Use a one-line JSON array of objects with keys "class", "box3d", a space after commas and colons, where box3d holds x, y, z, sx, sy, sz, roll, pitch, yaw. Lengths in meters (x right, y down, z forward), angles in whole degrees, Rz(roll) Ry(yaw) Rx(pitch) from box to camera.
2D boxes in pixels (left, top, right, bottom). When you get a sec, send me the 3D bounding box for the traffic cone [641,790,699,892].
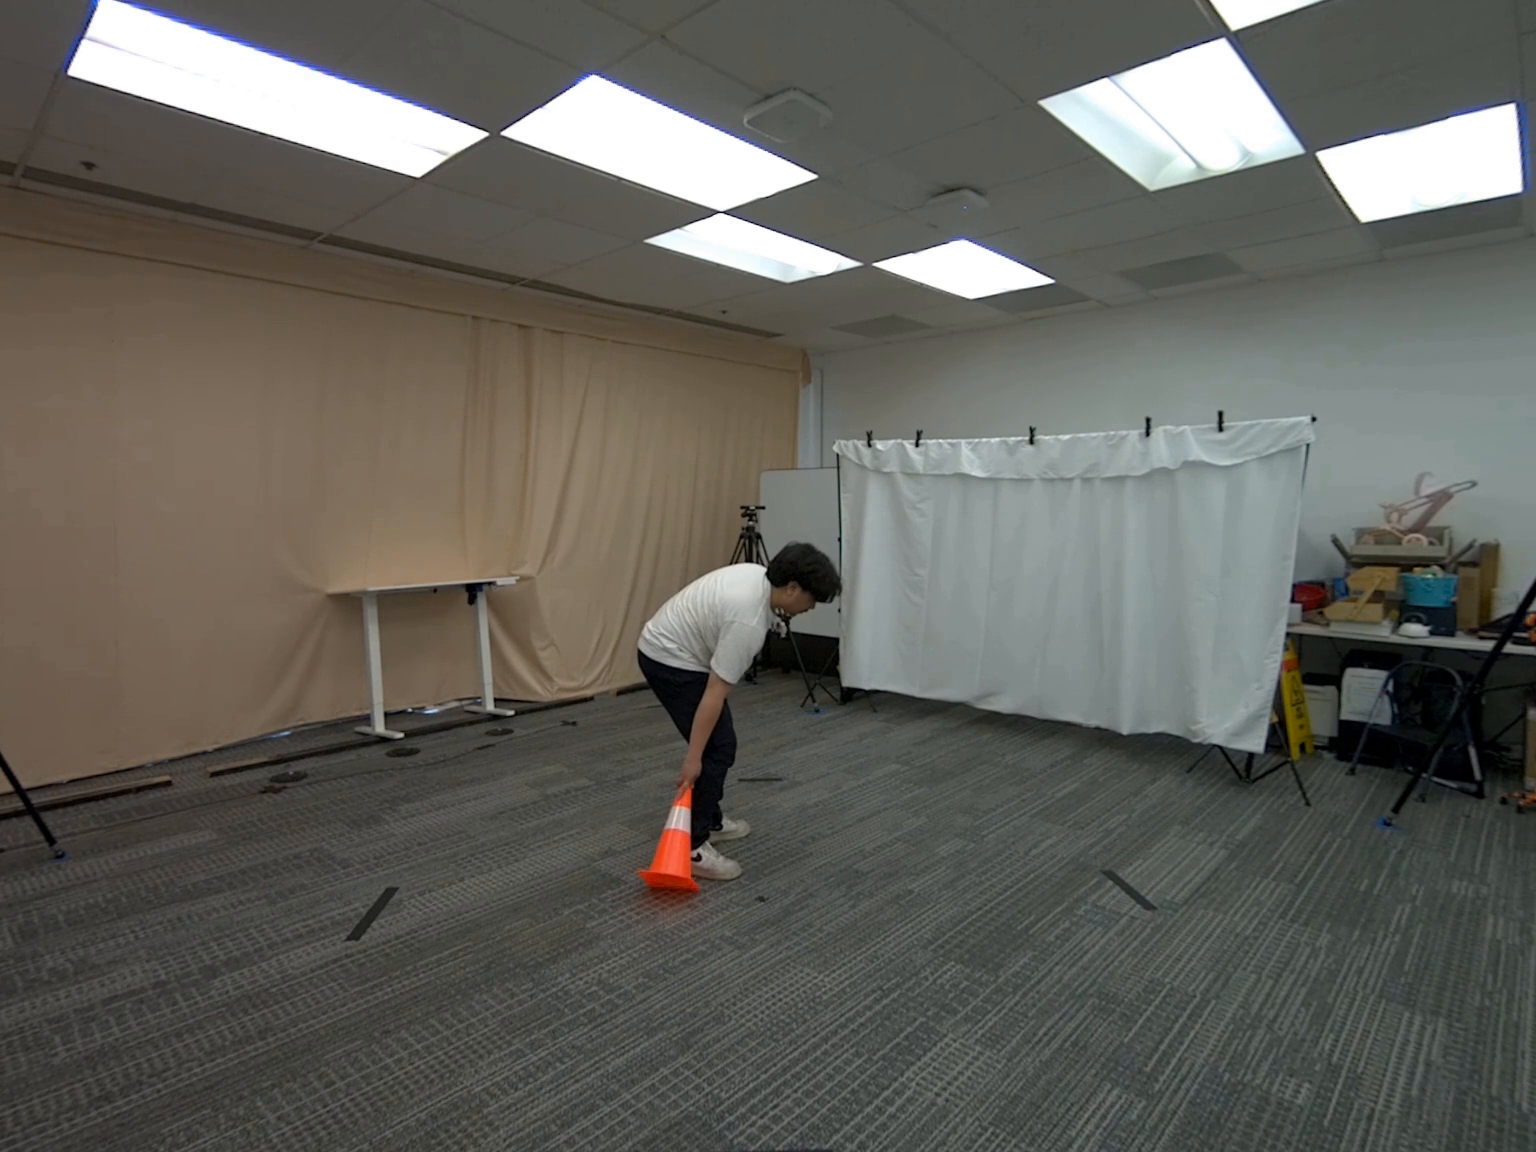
[{"class": "traffic cone", "box3d": [-0.325, 0.923, 3.100, 0.208, 0.388, 0.198, 3, -33, 12]}]
